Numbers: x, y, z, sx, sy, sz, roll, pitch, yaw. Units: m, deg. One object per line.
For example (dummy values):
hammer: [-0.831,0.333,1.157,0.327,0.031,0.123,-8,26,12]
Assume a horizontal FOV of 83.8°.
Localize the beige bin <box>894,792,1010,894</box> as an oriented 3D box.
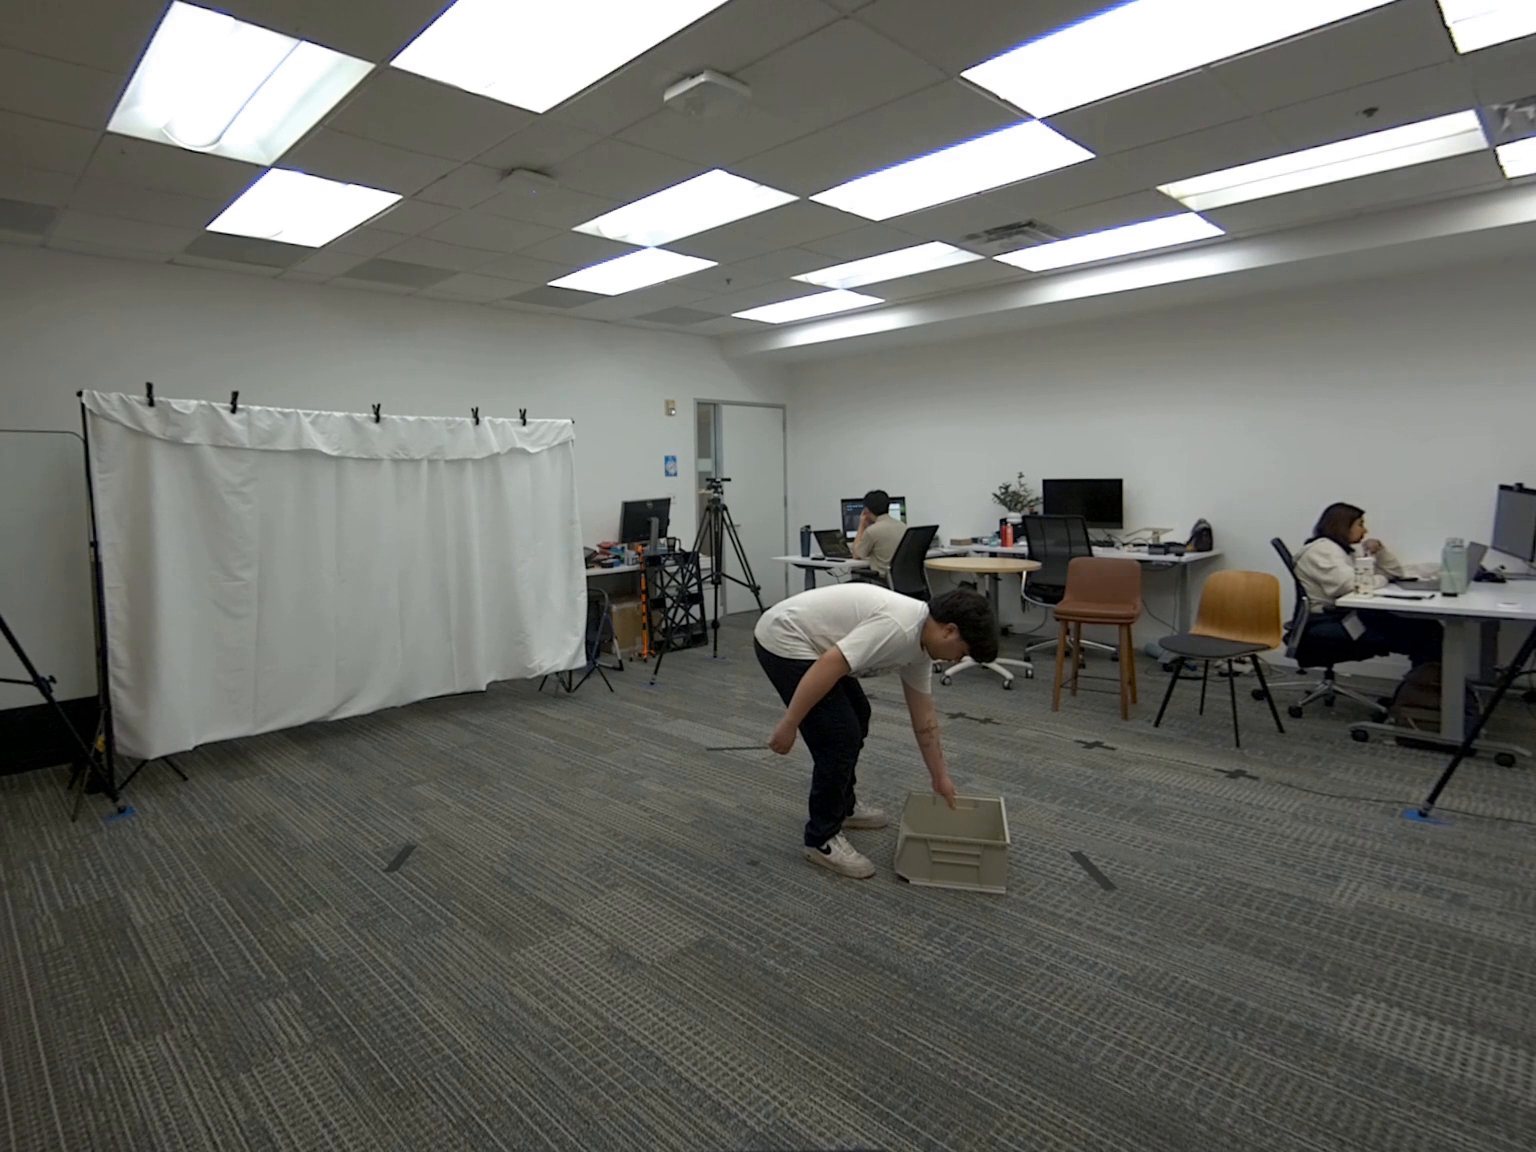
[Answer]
beige bin: [0.662,0.945,3.075,0.383,0.188,0.418,1,5,14]
